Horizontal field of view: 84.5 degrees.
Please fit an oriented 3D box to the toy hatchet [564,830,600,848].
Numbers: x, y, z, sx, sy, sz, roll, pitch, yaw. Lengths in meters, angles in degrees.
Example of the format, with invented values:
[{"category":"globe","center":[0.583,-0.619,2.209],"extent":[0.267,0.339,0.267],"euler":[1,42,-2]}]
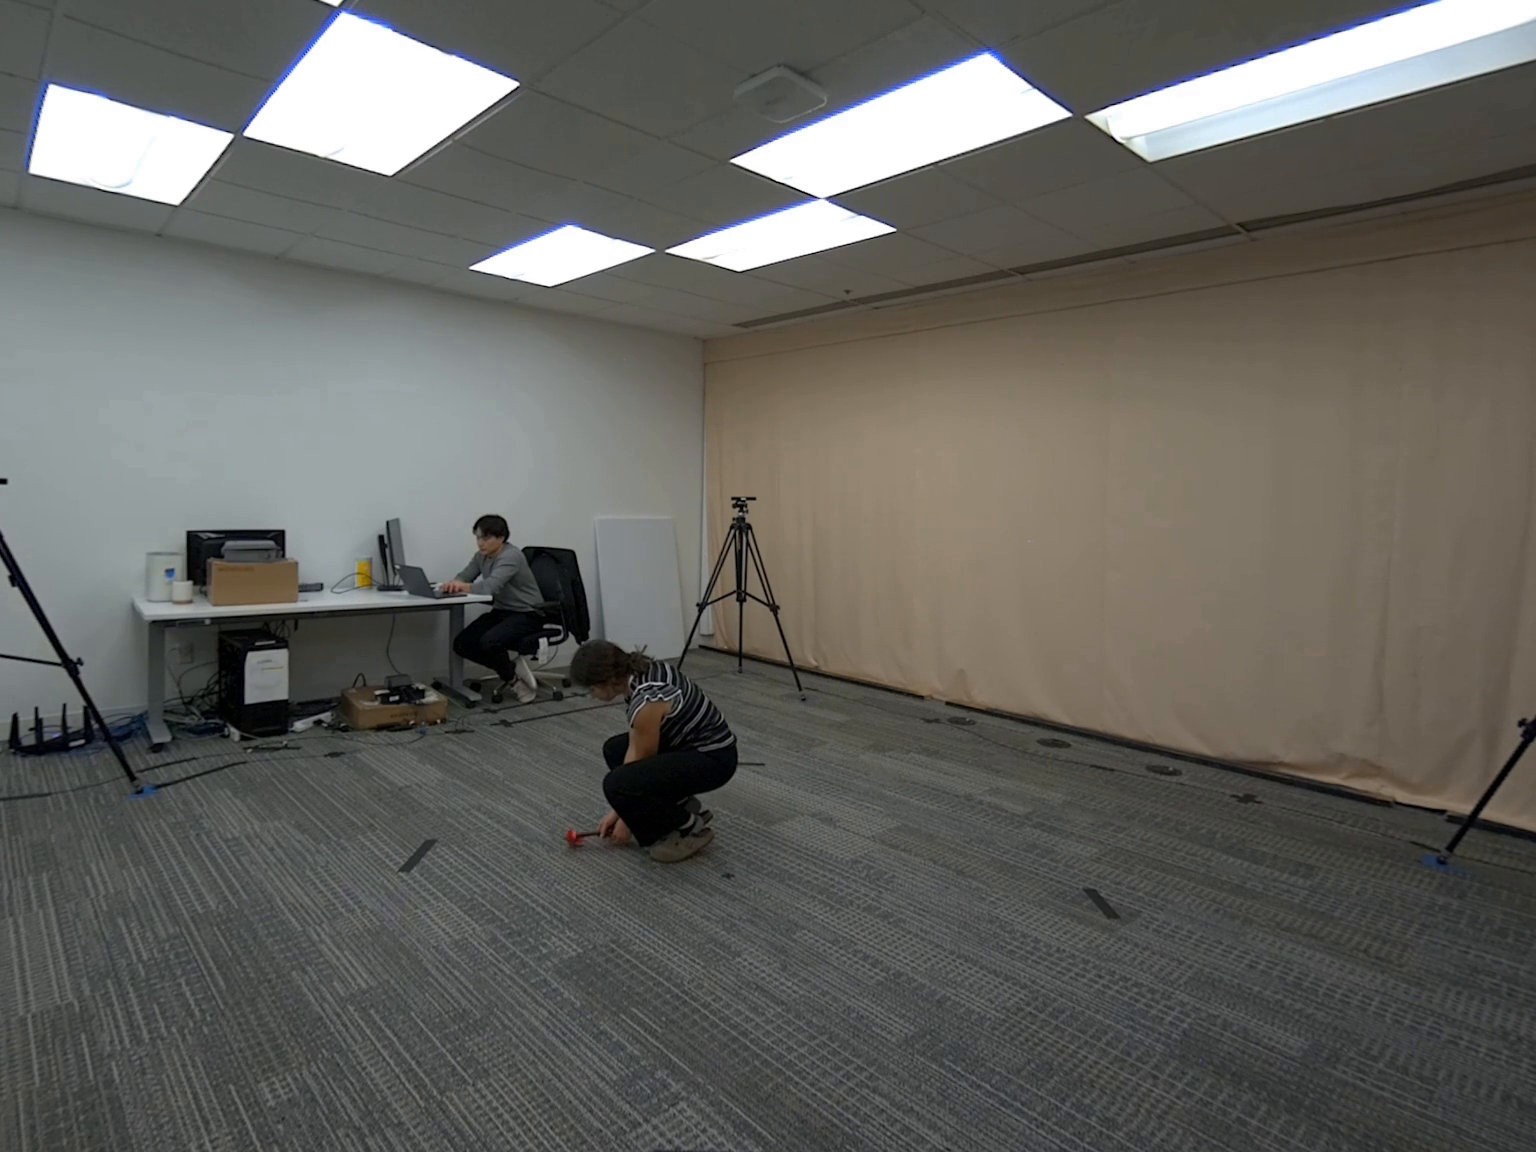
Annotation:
[{"category":"toy hatchet","center":[-0.684,1.032,3.344],"extent":[0.265,0.030,0.130],"euler":[11,-45,-20]}]
